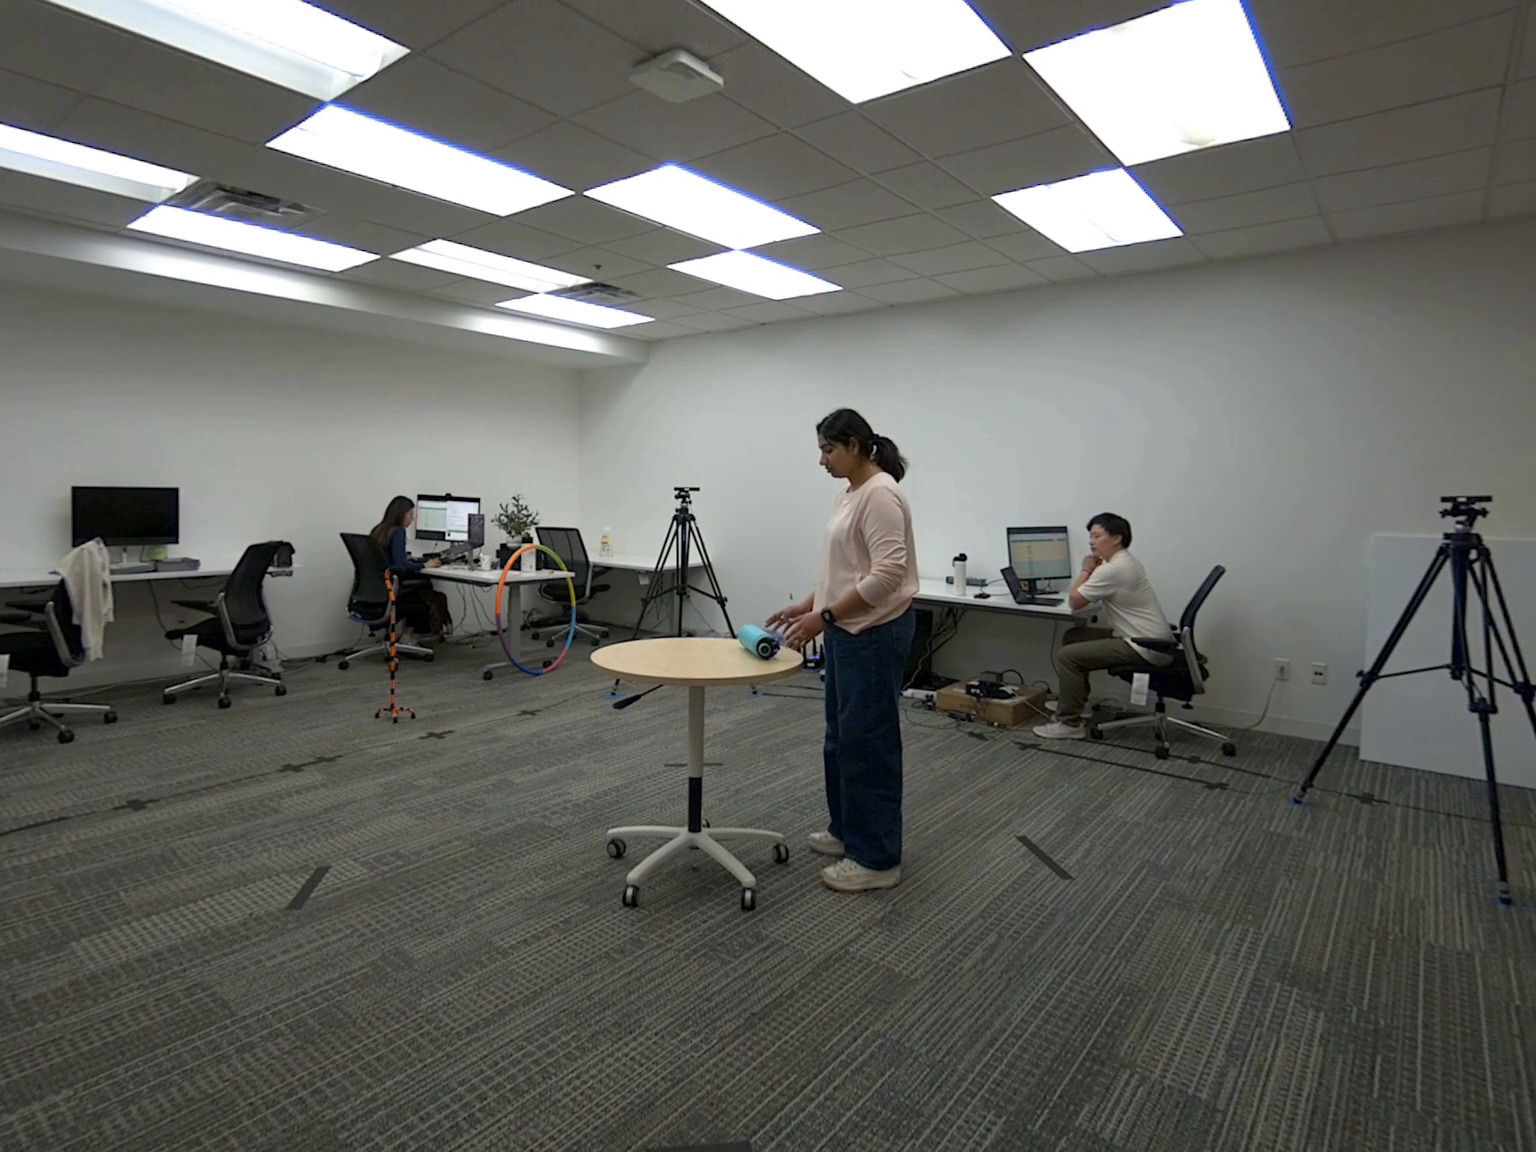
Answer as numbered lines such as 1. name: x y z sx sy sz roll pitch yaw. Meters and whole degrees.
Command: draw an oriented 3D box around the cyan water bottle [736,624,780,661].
1. cyan water bottle: -0.039 0.237 3.121 0.091 0.092 0.288 0 5 -15
